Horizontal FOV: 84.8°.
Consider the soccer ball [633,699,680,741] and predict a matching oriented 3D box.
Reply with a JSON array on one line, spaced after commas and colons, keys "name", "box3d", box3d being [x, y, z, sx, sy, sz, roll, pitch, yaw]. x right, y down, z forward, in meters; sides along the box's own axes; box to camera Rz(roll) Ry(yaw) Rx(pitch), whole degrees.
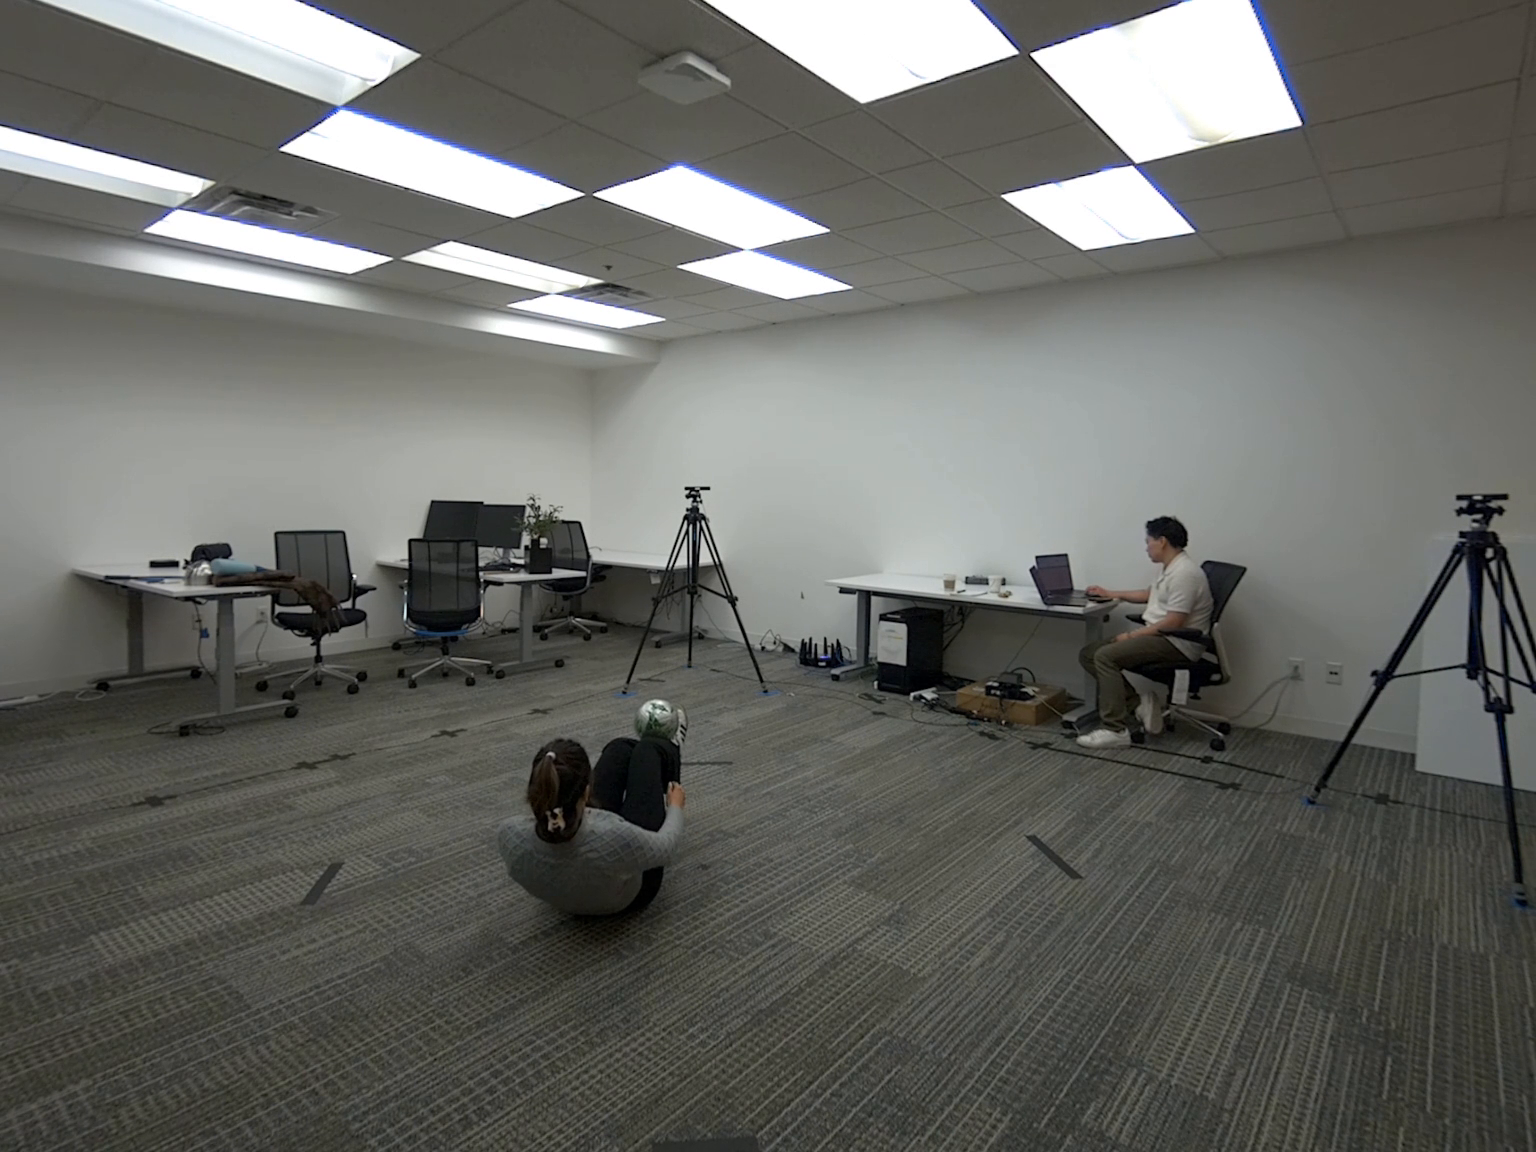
[{"name": "soccer ball", "box3d": [-0.469, 0.597, 3.485, 0.187, 0.187, 0.188, 0, 4, -2]}]
